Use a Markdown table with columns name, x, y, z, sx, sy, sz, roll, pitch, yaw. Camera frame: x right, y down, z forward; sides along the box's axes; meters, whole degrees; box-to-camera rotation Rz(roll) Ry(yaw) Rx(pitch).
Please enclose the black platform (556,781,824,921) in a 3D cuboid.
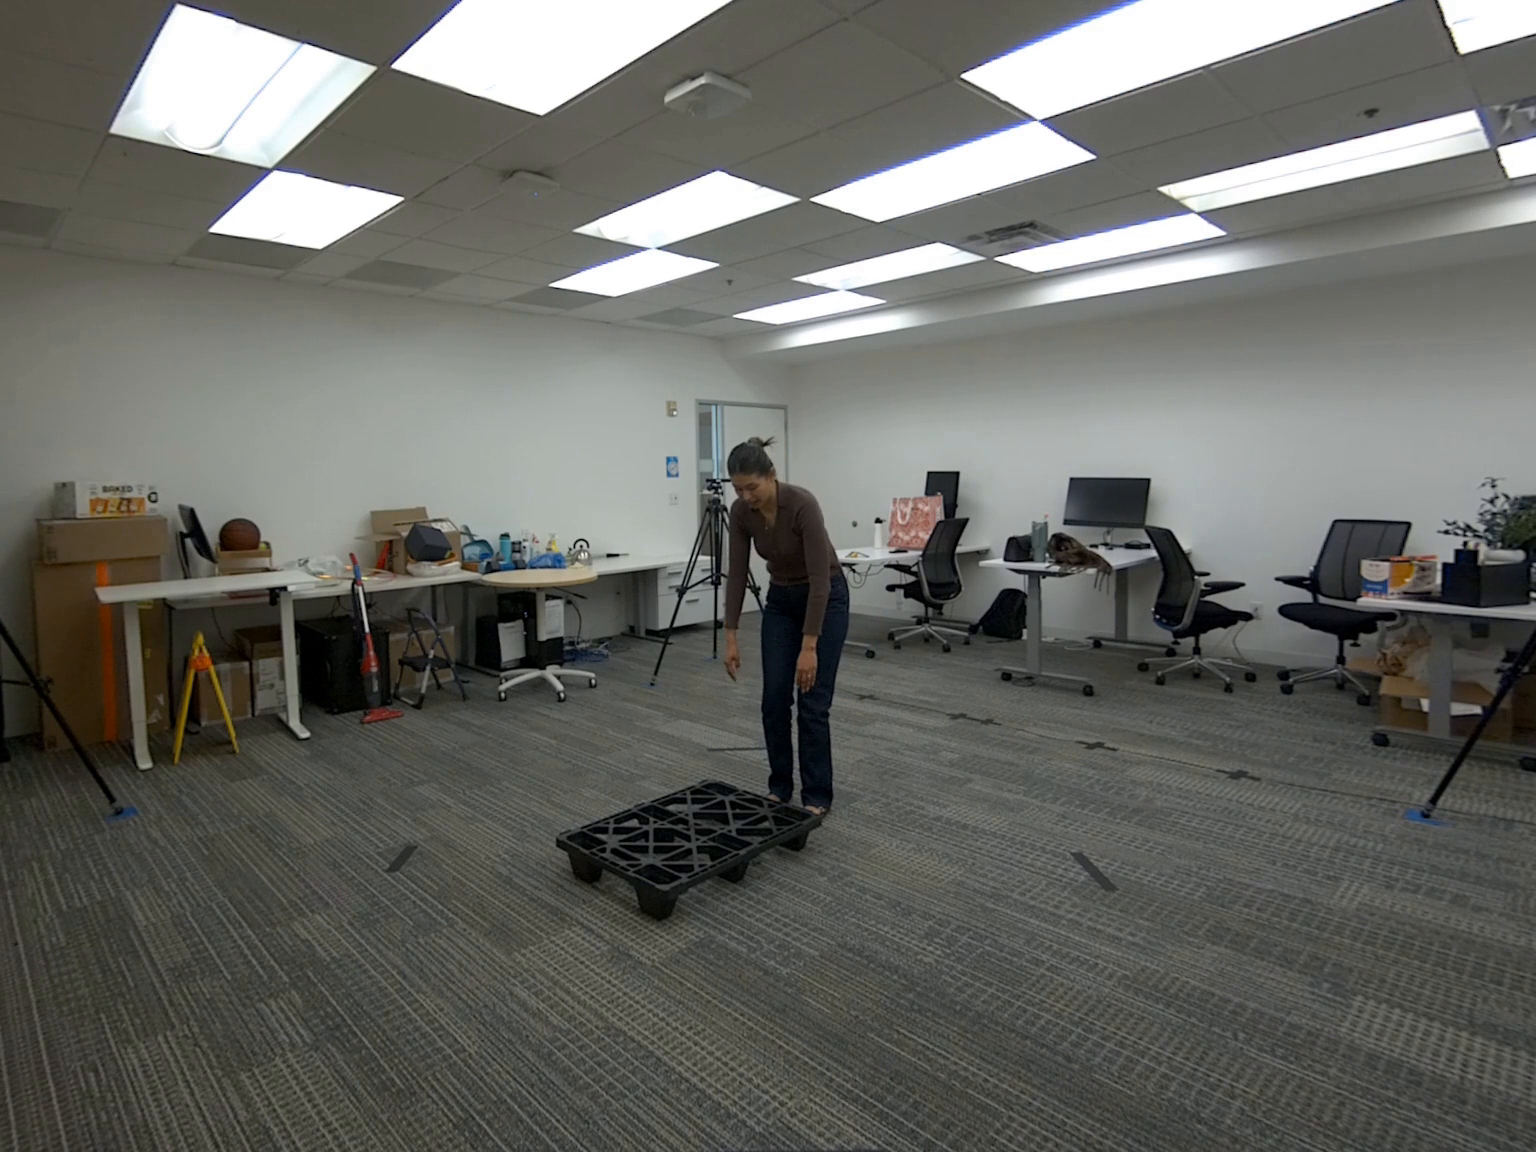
| name | x | y | z | sx | sy | sz | roll | pitch | yaw |
| --- | --- | --- | --- | --- | --- | --- | --- | --- | --- |
| black platform | -0.268 | 0.979 | 3.130 | 0.624 | 0.142 | 0.785 | 6 | 10 | 42 |
